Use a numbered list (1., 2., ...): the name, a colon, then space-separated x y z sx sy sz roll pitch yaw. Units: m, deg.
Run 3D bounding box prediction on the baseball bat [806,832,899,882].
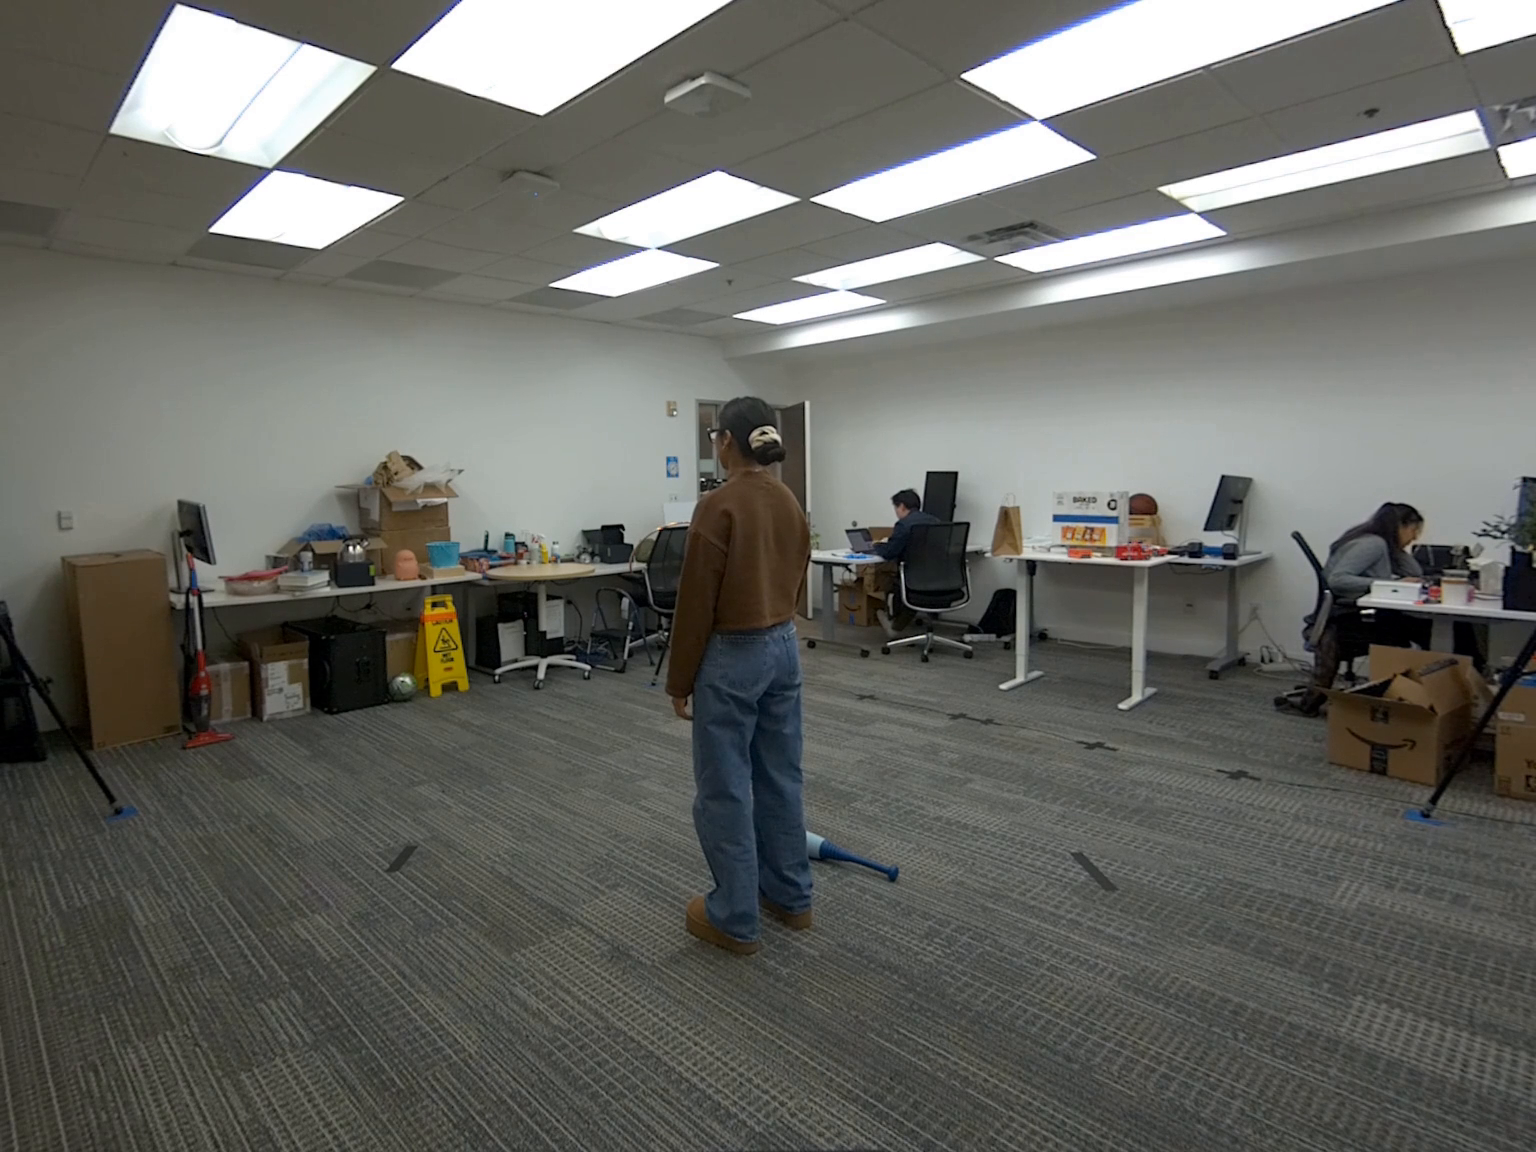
1. baseball bat: 0.222 1.004 3.112 0.560 0.088 0.087 7 8 36
